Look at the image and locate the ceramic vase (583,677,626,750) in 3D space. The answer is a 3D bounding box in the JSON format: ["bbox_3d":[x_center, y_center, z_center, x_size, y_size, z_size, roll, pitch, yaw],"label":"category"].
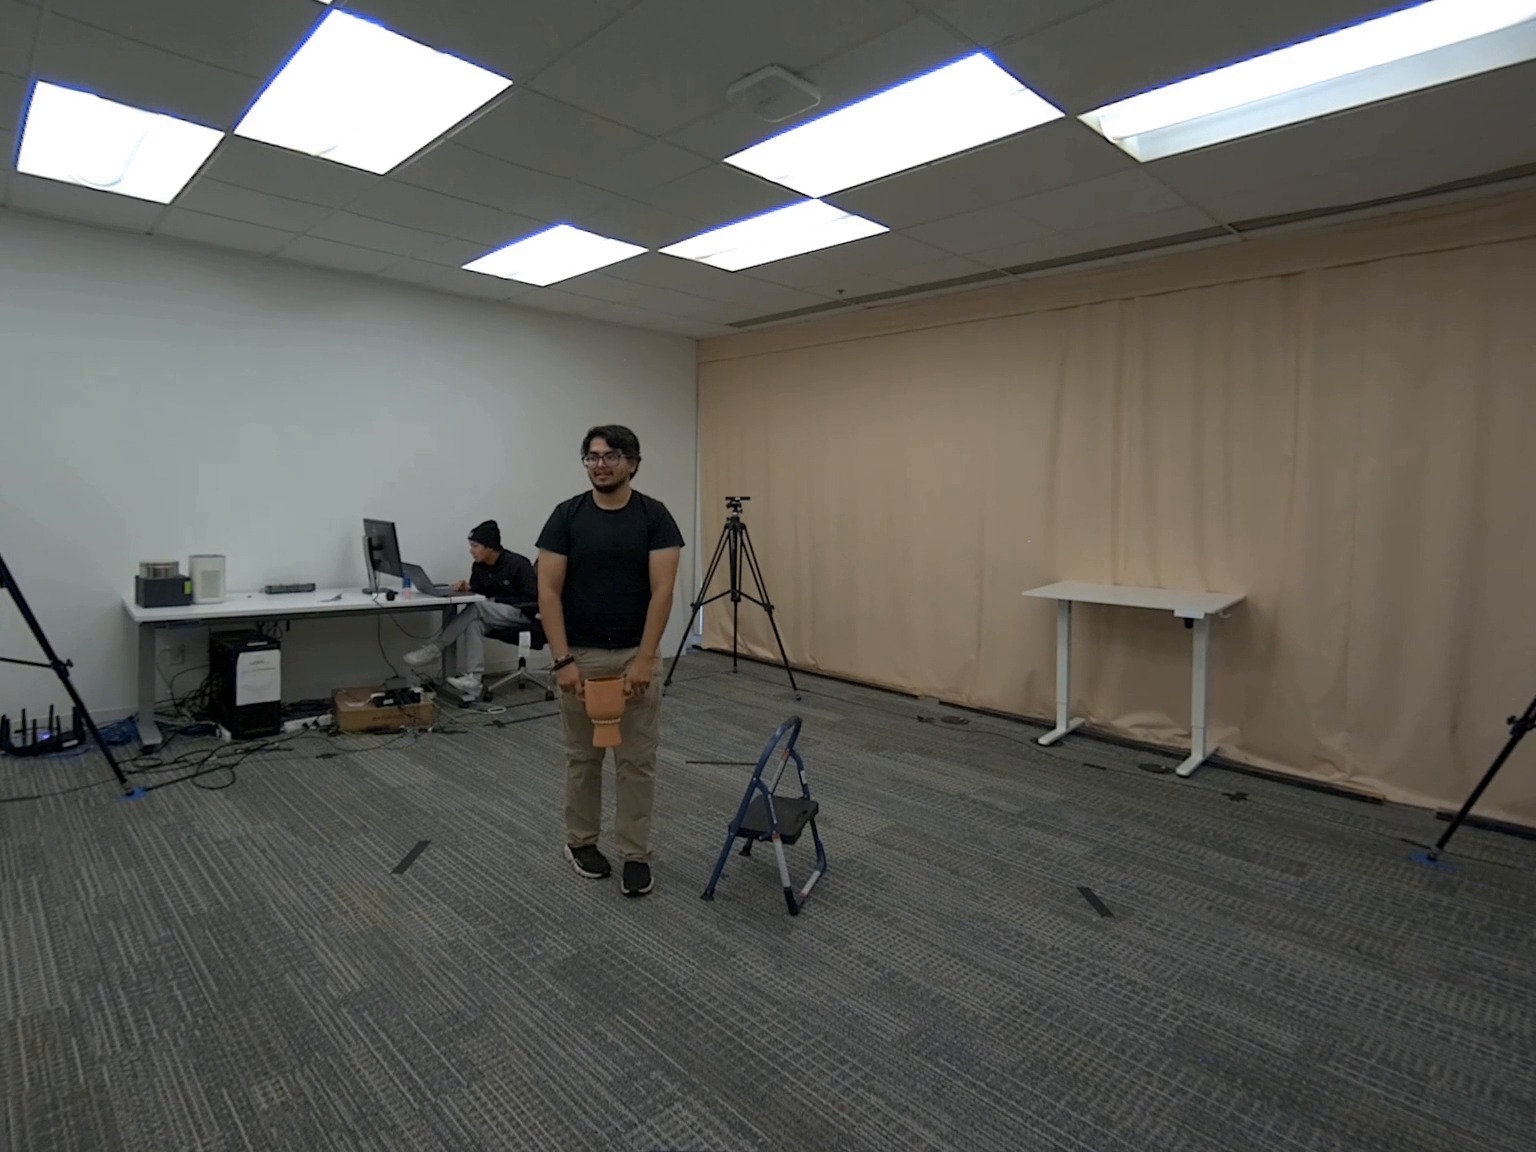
[{"bbox_3d":[-0.567,0.461,2.849,0.162,0.220,0.131,-2,0,42],"label":"ceramic vase"}]
